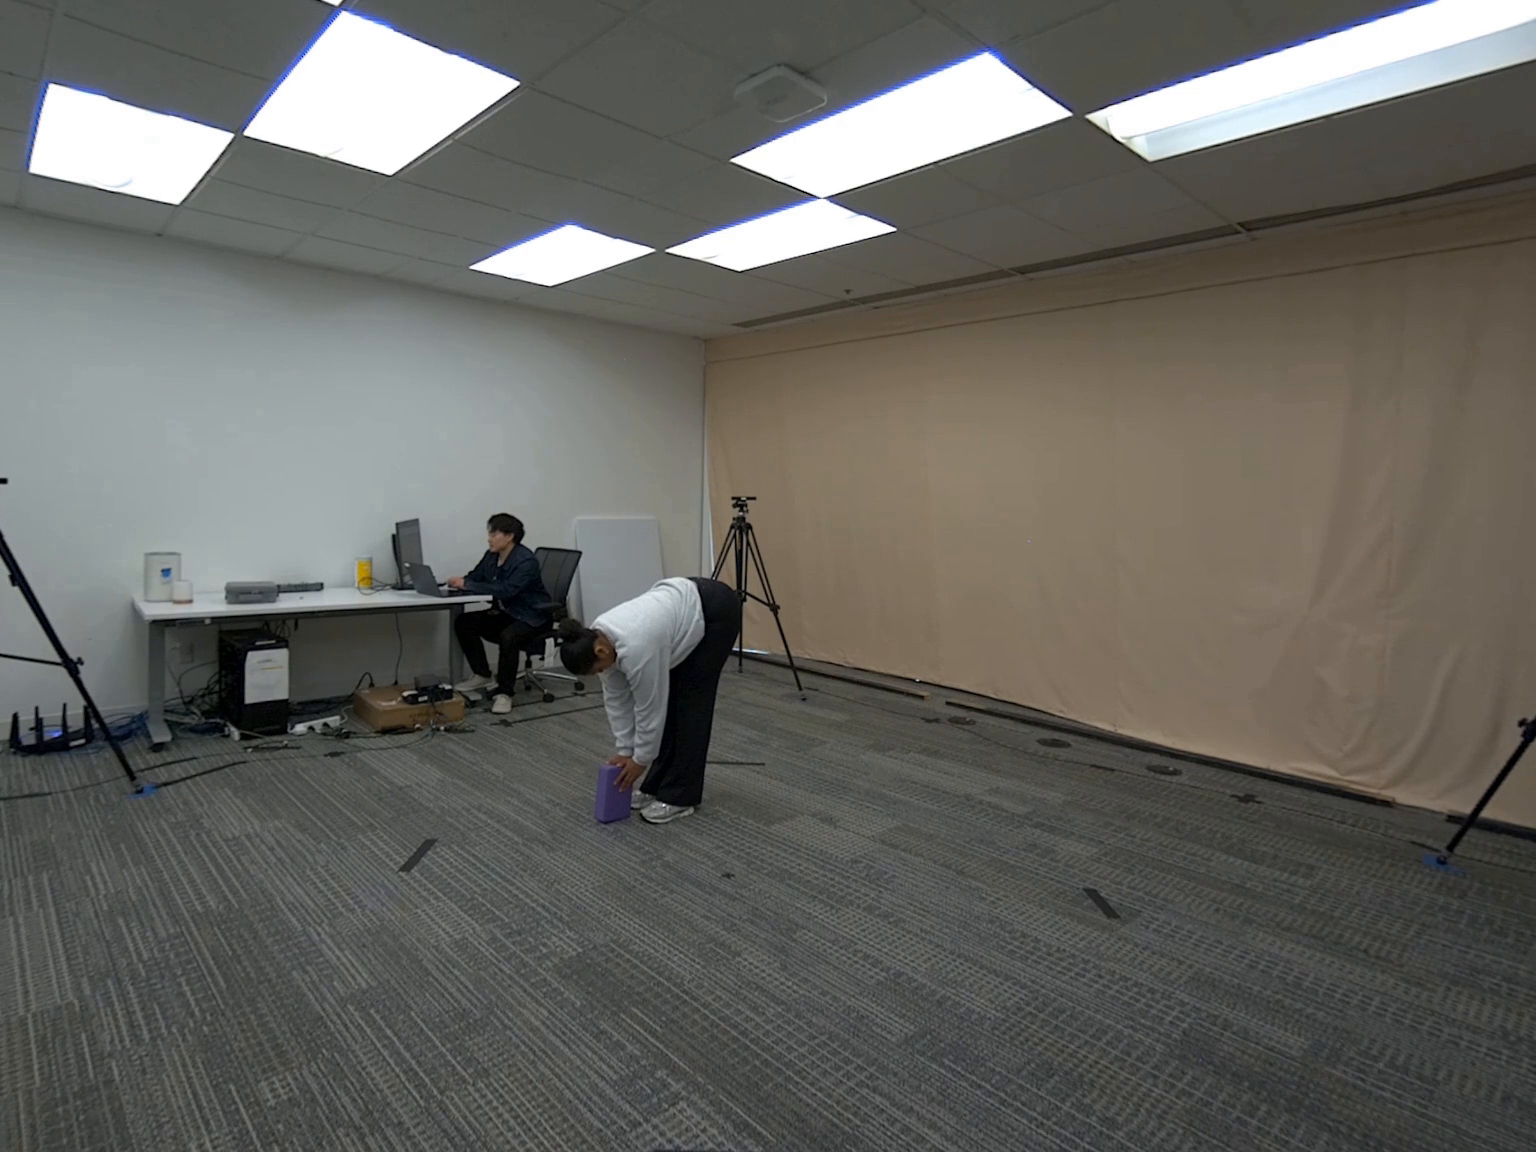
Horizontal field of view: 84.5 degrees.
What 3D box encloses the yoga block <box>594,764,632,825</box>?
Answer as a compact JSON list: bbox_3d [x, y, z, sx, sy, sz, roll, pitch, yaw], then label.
[{"bbox_3d":[-0.667,0.927,3.623,0.078,0.229,0.145,3,-2,42],"label":"yoga block"}]
